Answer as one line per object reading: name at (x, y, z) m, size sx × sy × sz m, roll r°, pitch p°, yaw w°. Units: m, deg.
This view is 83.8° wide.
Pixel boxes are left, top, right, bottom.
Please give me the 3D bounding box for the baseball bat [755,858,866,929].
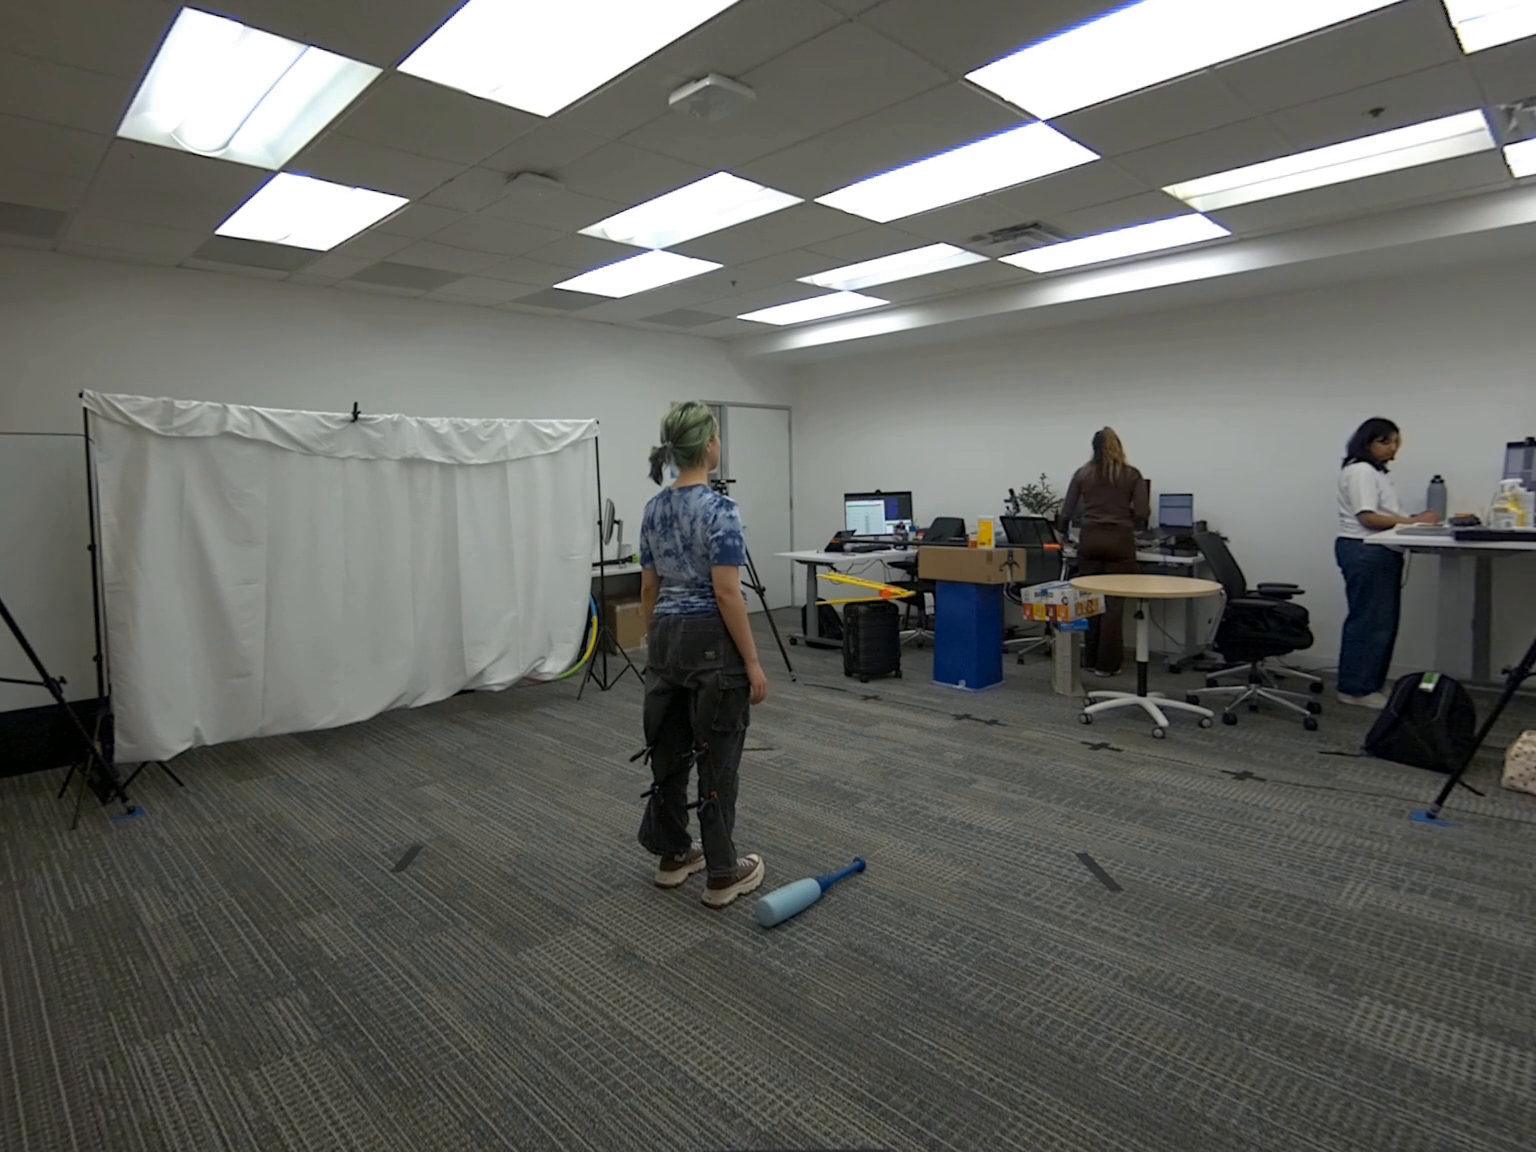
baseball bat at (0.160, 1.037, 2.839) m, size 0.092 × 0.089 × 0.528 m, roll 3°, pitch 4°, yaw 41°
